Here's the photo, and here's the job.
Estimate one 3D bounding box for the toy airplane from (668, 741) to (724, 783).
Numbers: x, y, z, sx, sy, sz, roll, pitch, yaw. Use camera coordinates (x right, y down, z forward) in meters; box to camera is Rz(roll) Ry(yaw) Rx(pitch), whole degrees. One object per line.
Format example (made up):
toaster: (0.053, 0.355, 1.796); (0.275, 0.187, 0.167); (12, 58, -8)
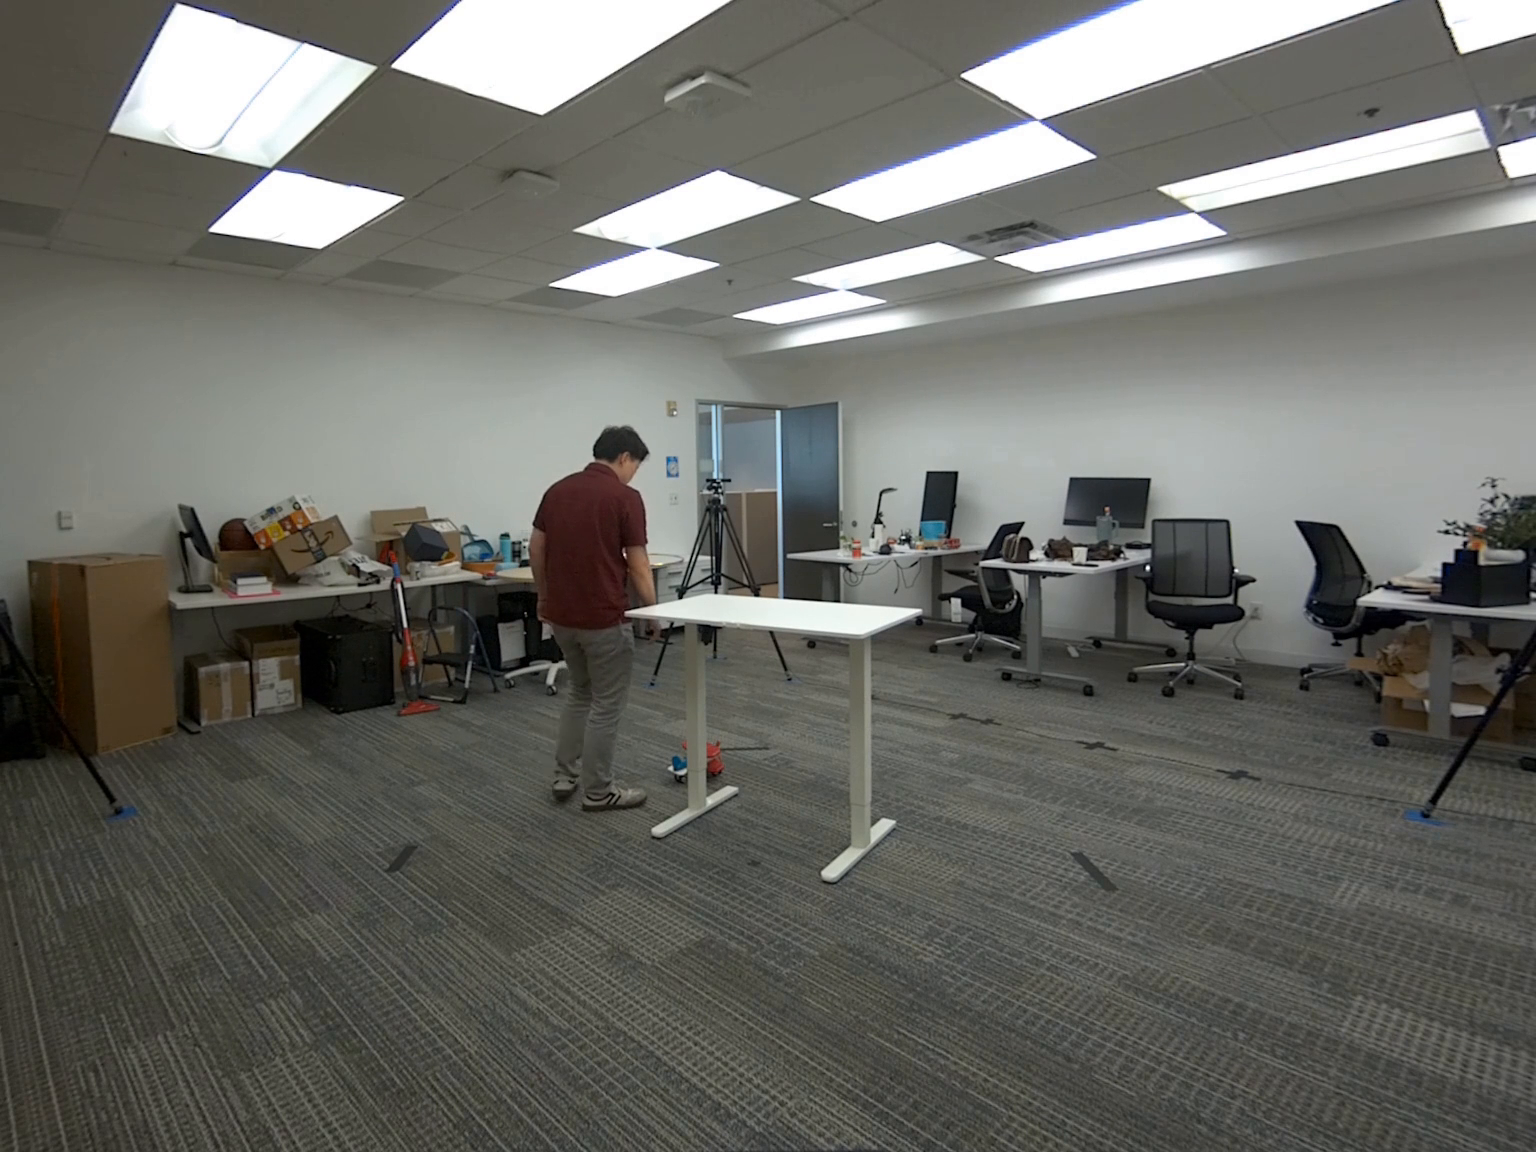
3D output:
toy airplane: (-0.328, 0.875, 4.007); (0.257, 0.156, 0.254); (1, 4, 23)
